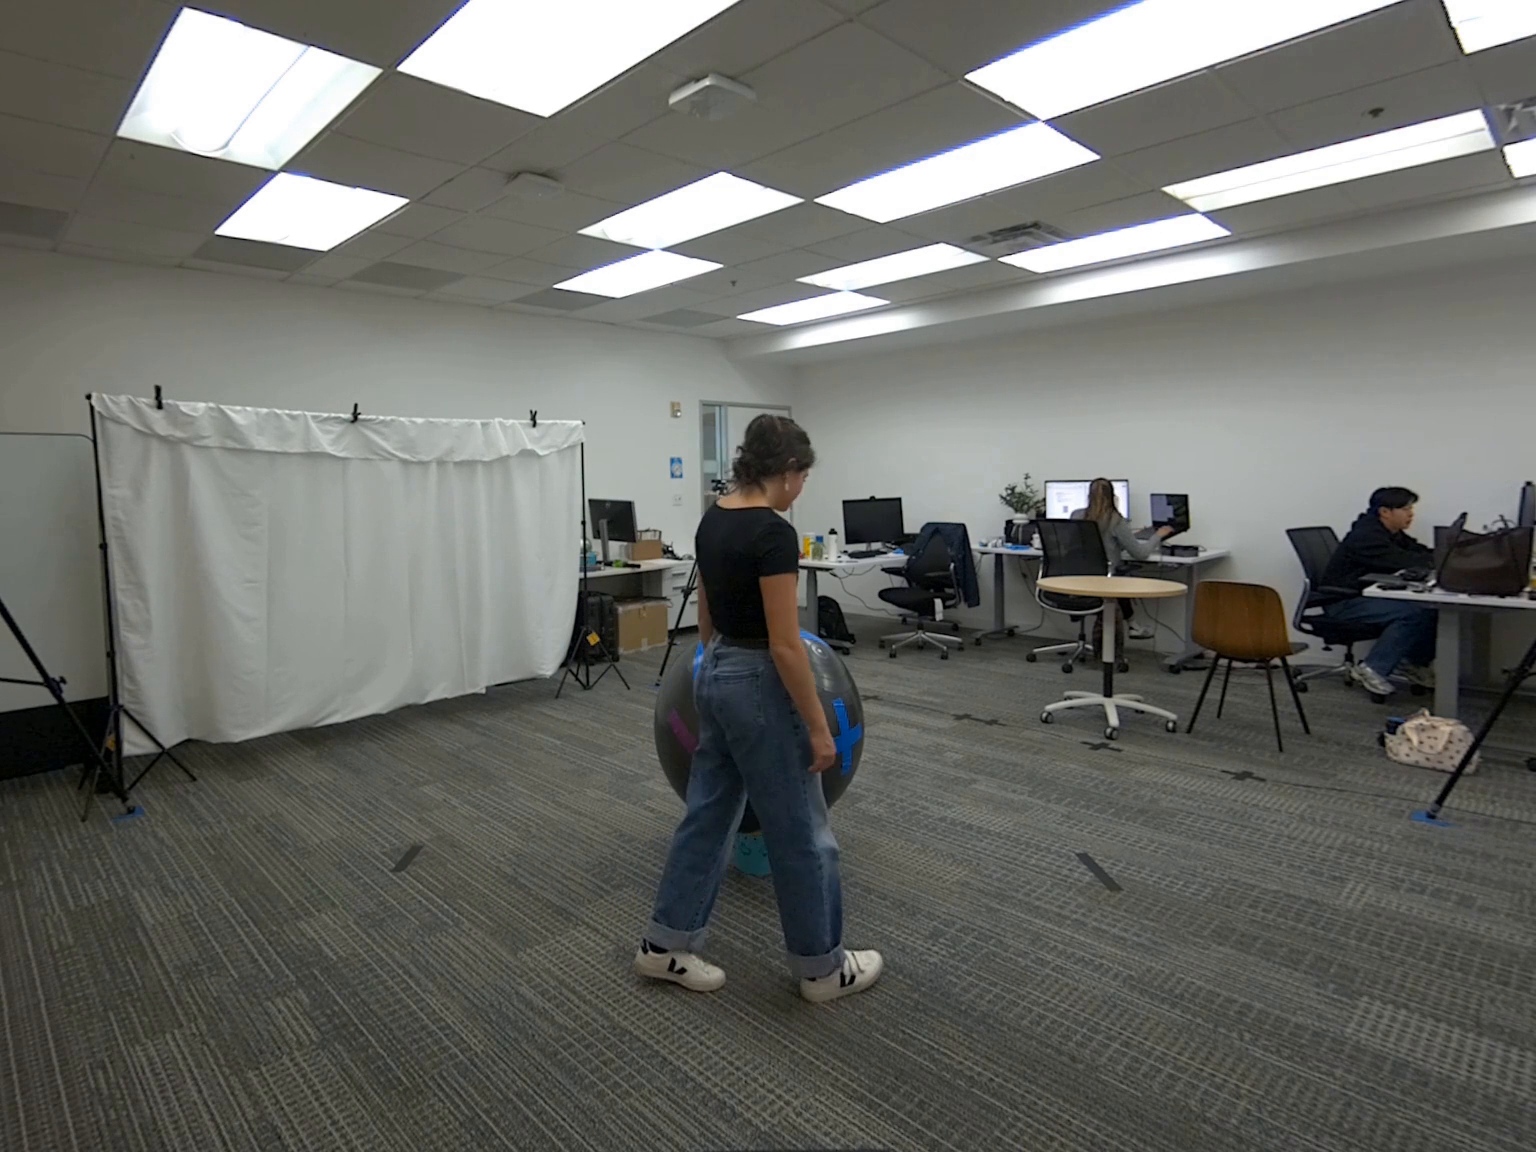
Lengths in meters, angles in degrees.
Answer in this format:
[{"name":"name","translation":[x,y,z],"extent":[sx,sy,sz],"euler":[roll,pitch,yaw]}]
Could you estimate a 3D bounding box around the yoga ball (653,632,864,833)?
[{"name":"yoga ball","translation":[-0.034,0.537,3.090],"extent":[0.757,0.755,0.762],"euler":[-1,5,-2]}]
